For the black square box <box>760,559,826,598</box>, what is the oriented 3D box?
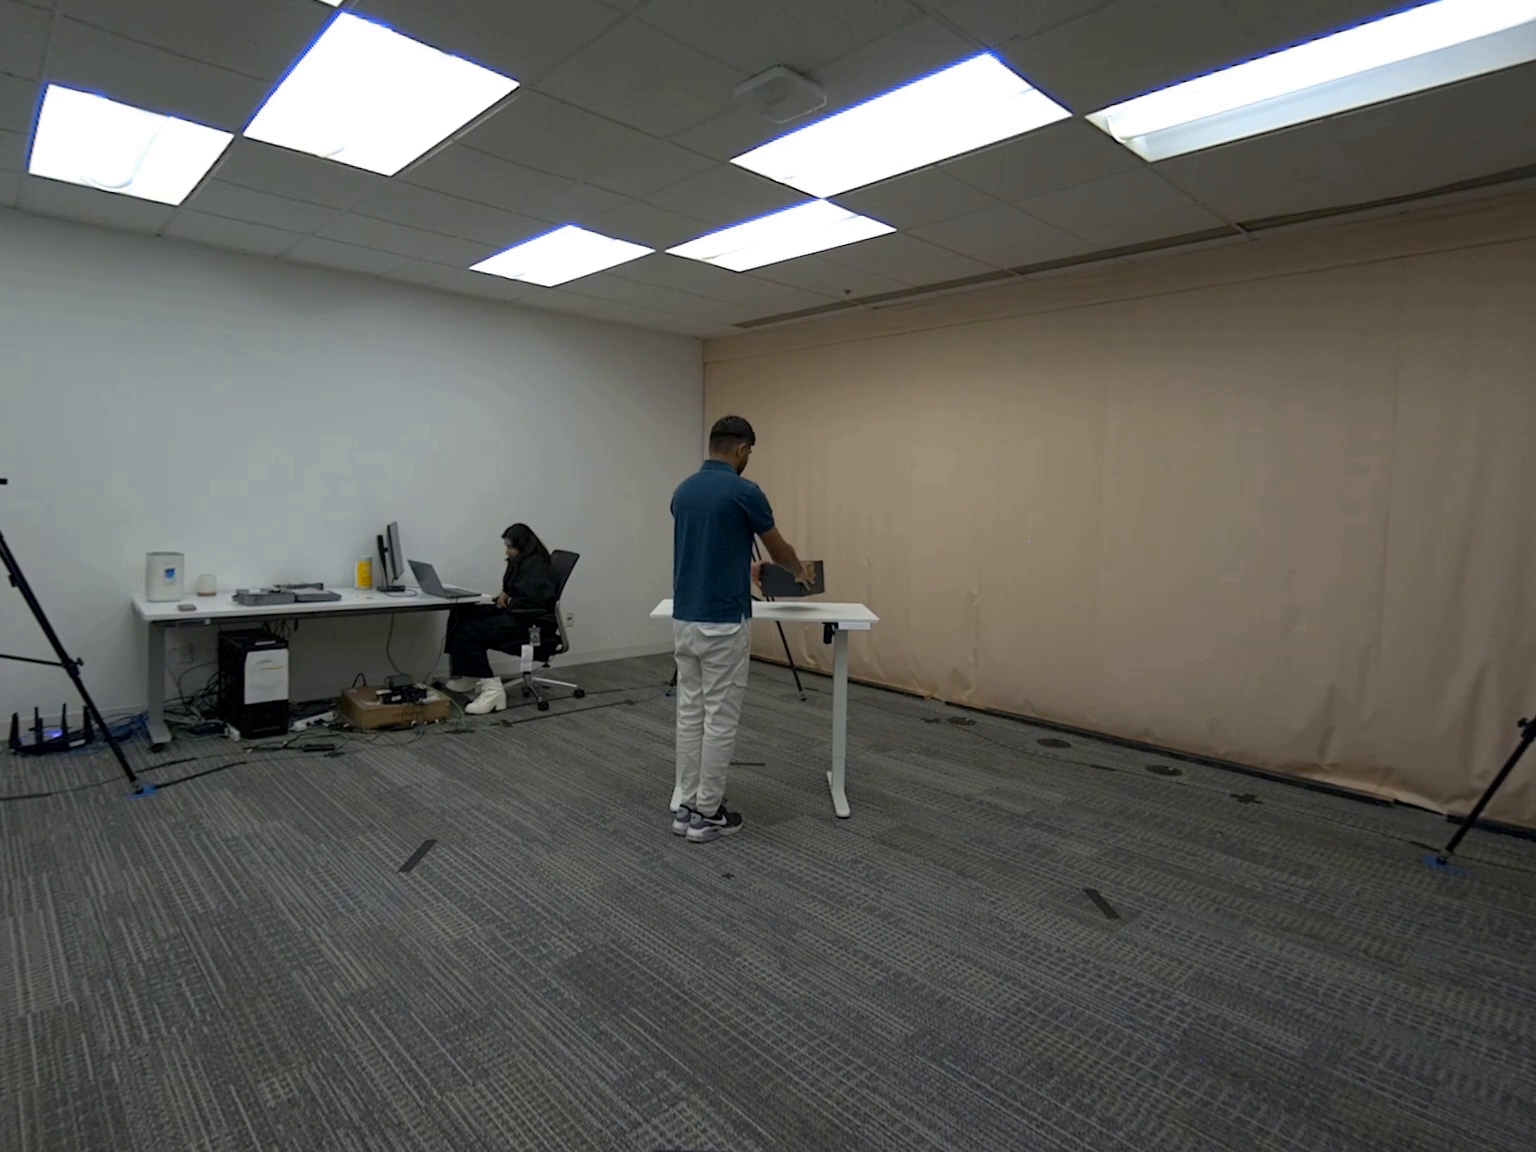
[{"bbox_3d":[0.116,0.008,3.958,0.221,0.155,0.223,0,4,32],"label":"black square box"}]
